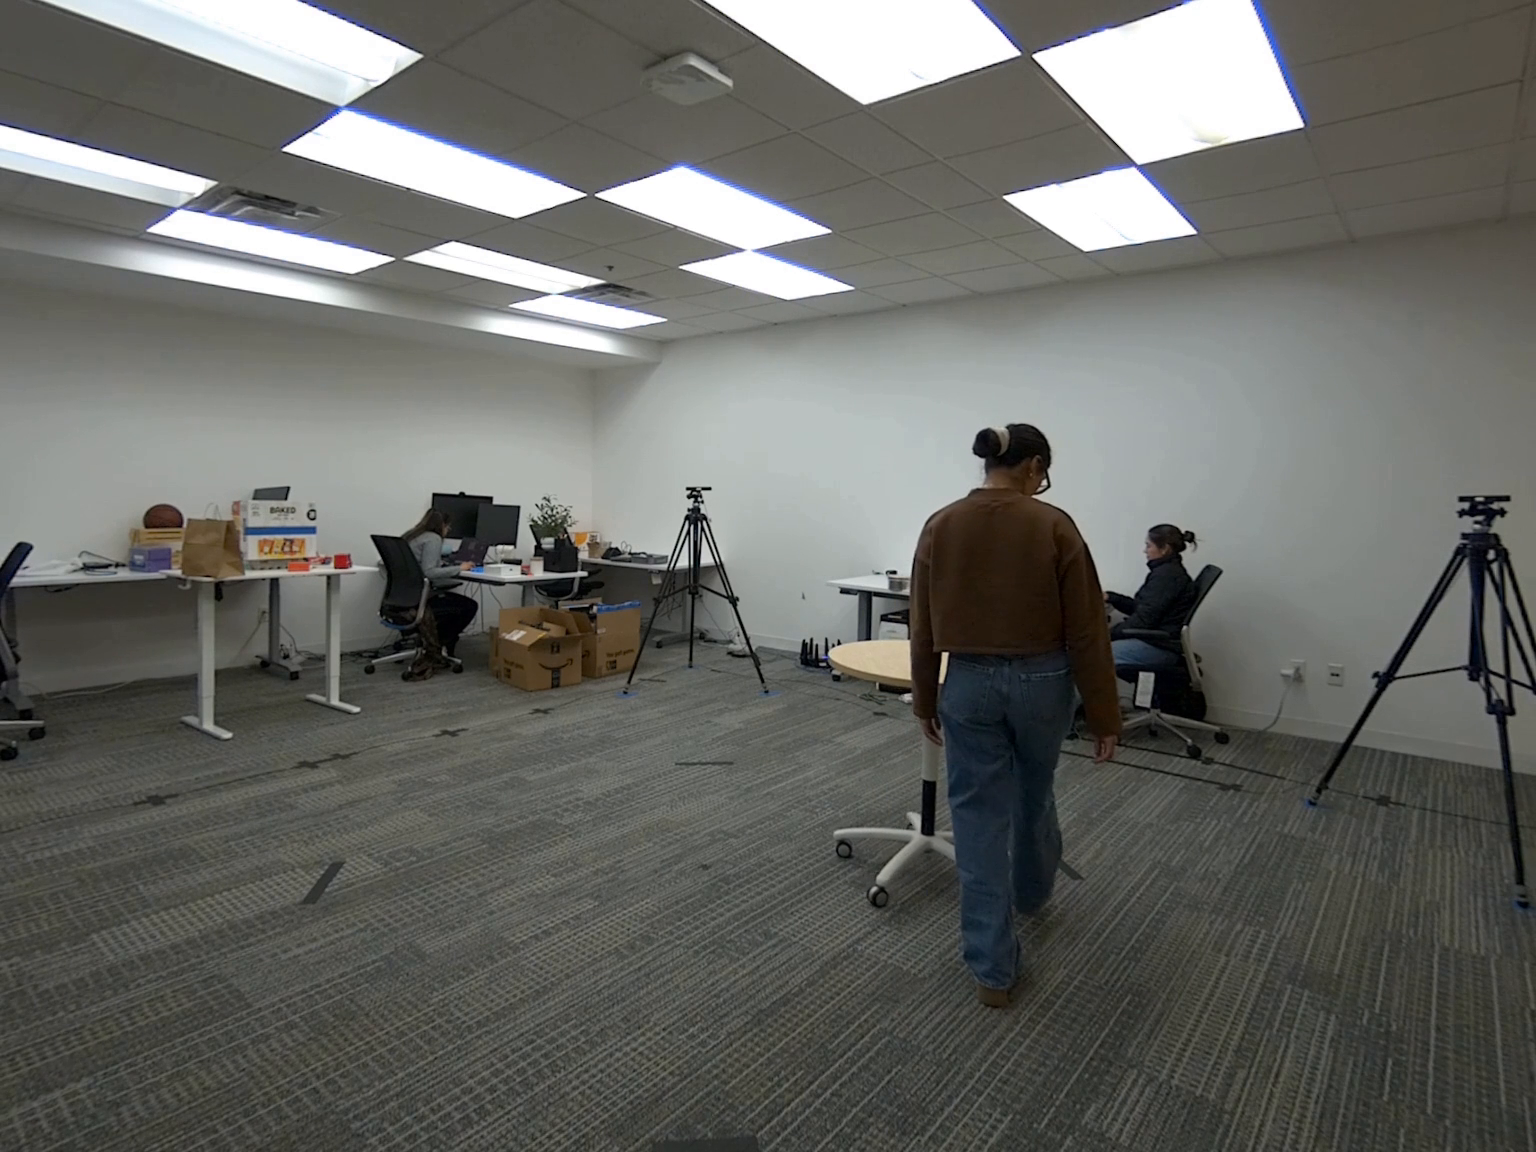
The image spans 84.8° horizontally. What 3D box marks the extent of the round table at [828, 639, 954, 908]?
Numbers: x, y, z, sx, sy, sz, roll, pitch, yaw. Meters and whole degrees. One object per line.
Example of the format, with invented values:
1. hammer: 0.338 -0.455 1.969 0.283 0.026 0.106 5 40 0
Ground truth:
1. round table: 0.580 0.692 3.103 0.763 0.791 0.768 1 5 -2
